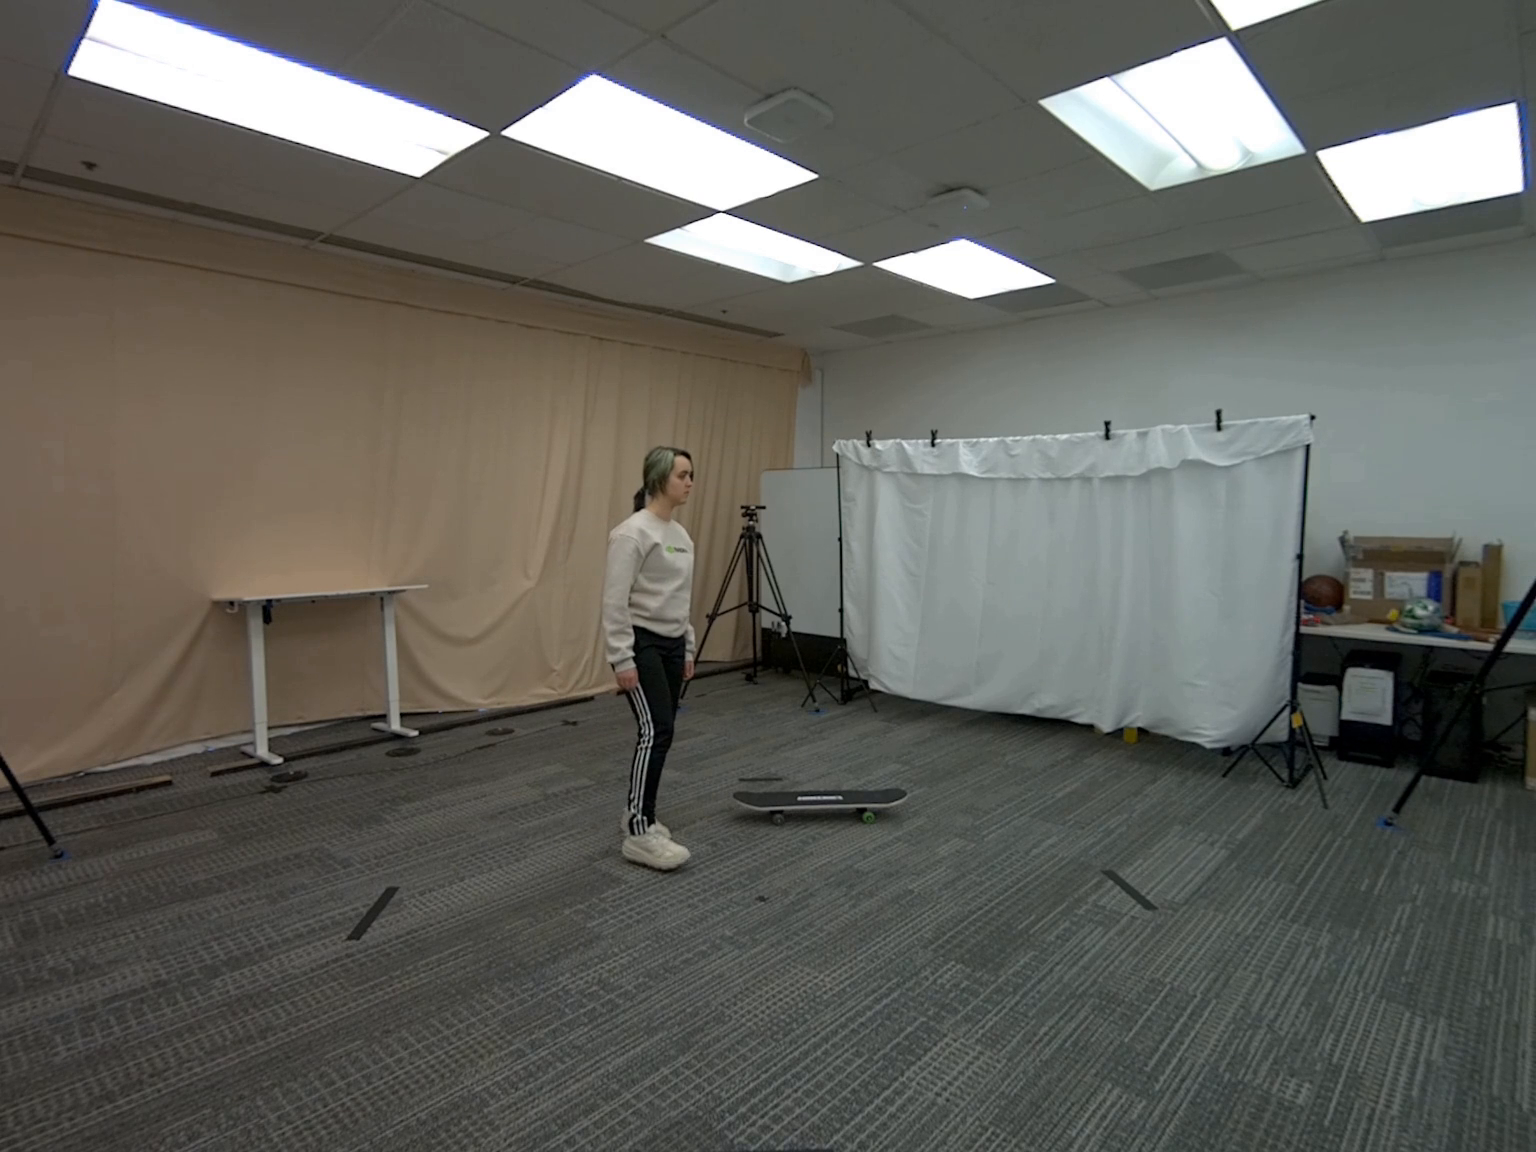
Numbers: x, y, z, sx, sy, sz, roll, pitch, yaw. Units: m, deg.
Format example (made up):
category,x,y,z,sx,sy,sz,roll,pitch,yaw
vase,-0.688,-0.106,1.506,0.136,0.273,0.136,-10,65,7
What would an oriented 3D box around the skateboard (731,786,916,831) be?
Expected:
category,x,y,z,sx,sy,sz,roll,pitch,yaw
skateboard,0.235,1.024,3.751,0.782,0.110,0.194,0,4,-4
